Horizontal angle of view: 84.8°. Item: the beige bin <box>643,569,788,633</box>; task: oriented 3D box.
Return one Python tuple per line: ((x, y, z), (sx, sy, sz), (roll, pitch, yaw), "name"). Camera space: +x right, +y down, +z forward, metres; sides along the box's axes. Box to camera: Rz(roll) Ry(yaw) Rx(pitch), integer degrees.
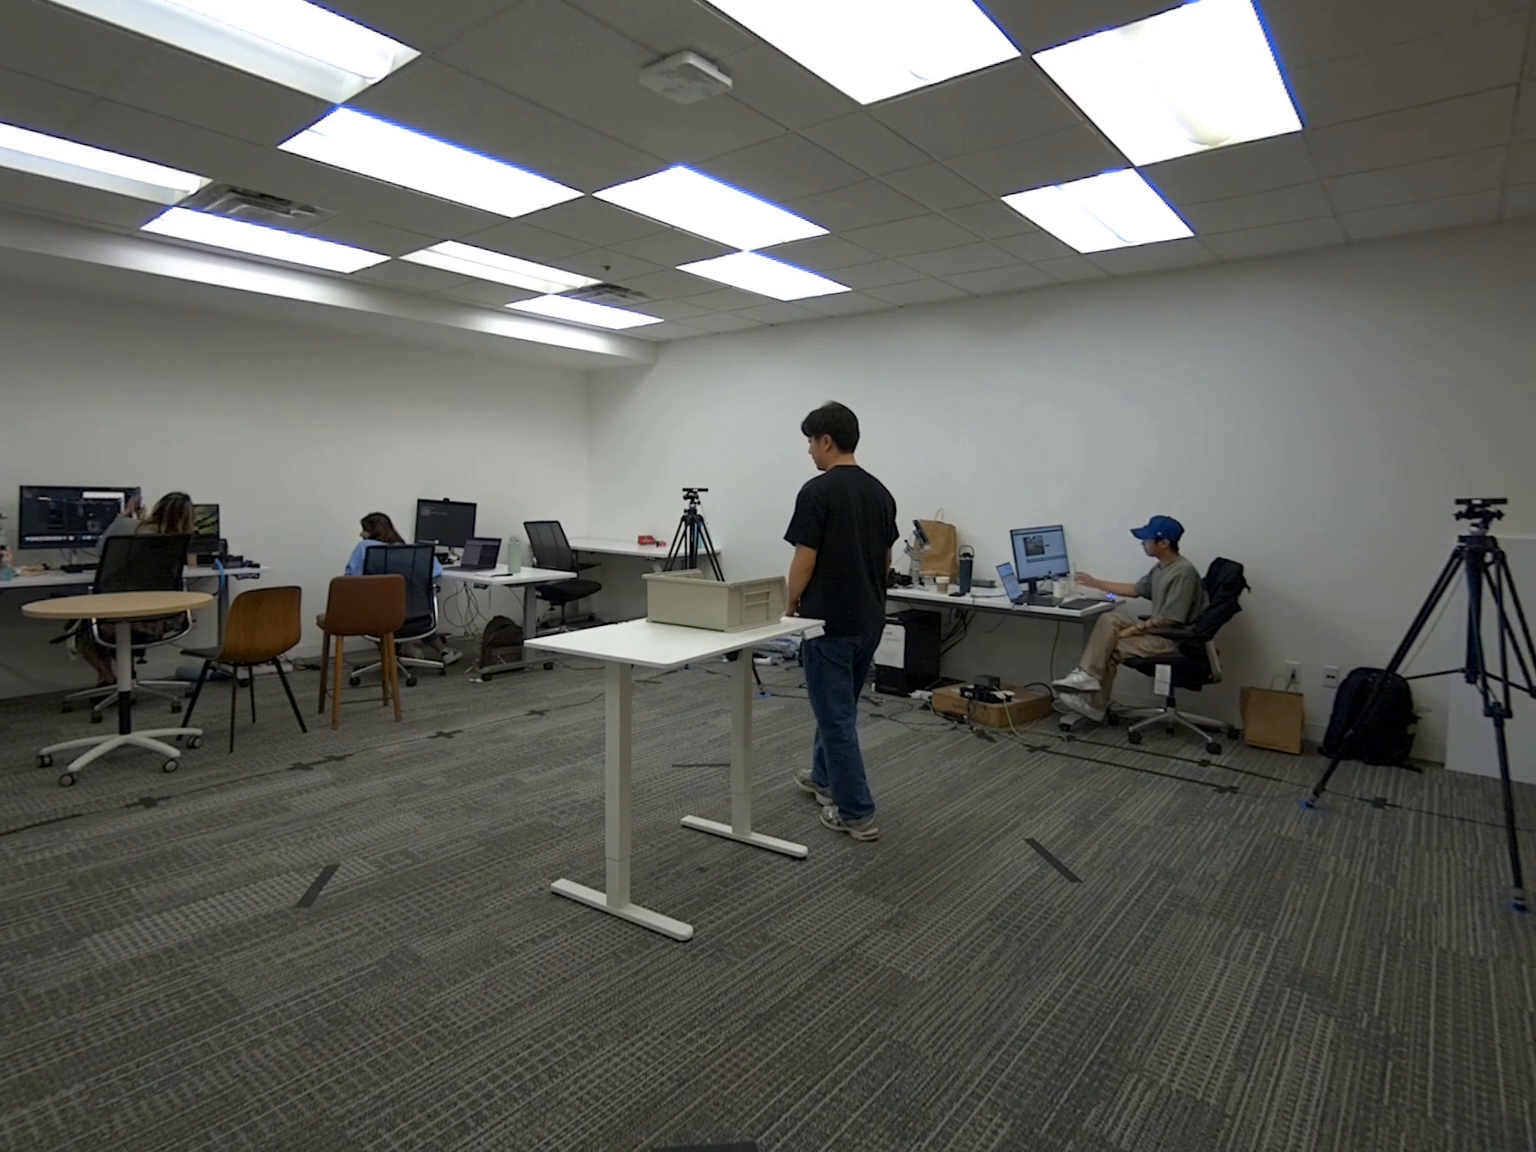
((-0.206, 0.085, 3.238), (0.436, 0.188, 0.367), (6, 8, 37), "beige bin")
